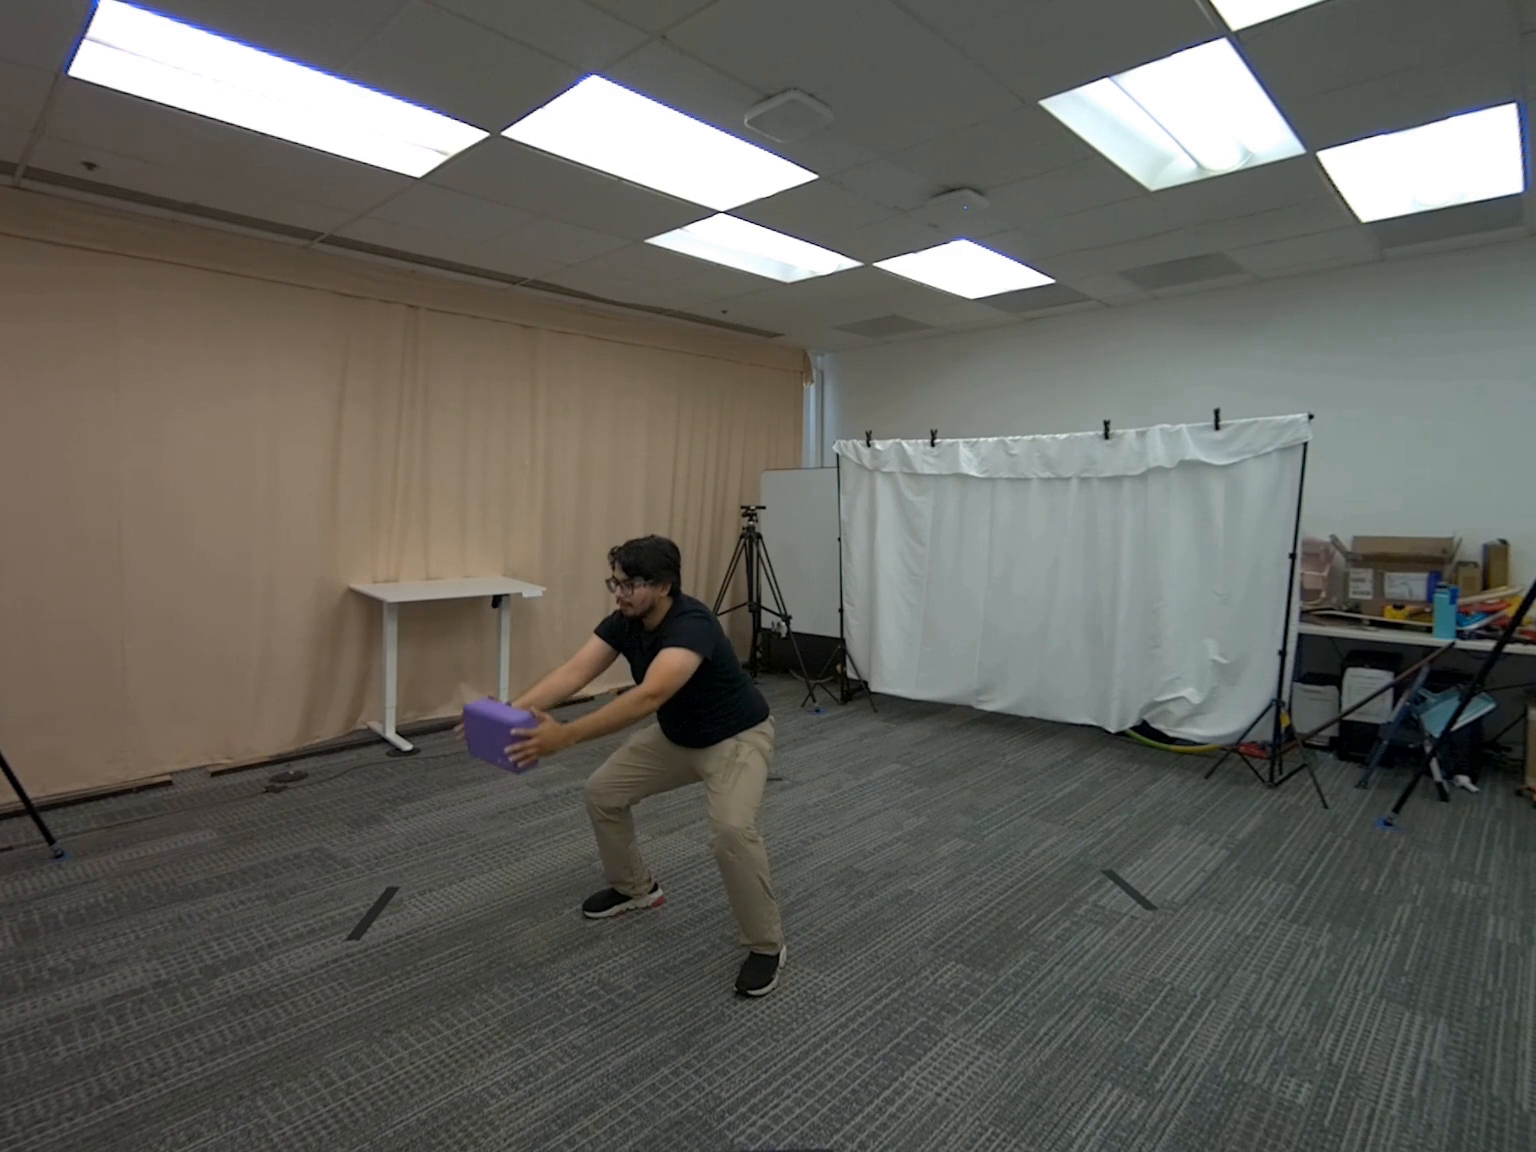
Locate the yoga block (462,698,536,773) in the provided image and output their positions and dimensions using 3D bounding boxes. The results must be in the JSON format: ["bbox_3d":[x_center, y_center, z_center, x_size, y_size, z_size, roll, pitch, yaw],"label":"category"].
[{"bbox_3d":[-0.697,0.420,2.221,0.237,0.148,0.074,6,13,37],"label":"yoga block"}]
